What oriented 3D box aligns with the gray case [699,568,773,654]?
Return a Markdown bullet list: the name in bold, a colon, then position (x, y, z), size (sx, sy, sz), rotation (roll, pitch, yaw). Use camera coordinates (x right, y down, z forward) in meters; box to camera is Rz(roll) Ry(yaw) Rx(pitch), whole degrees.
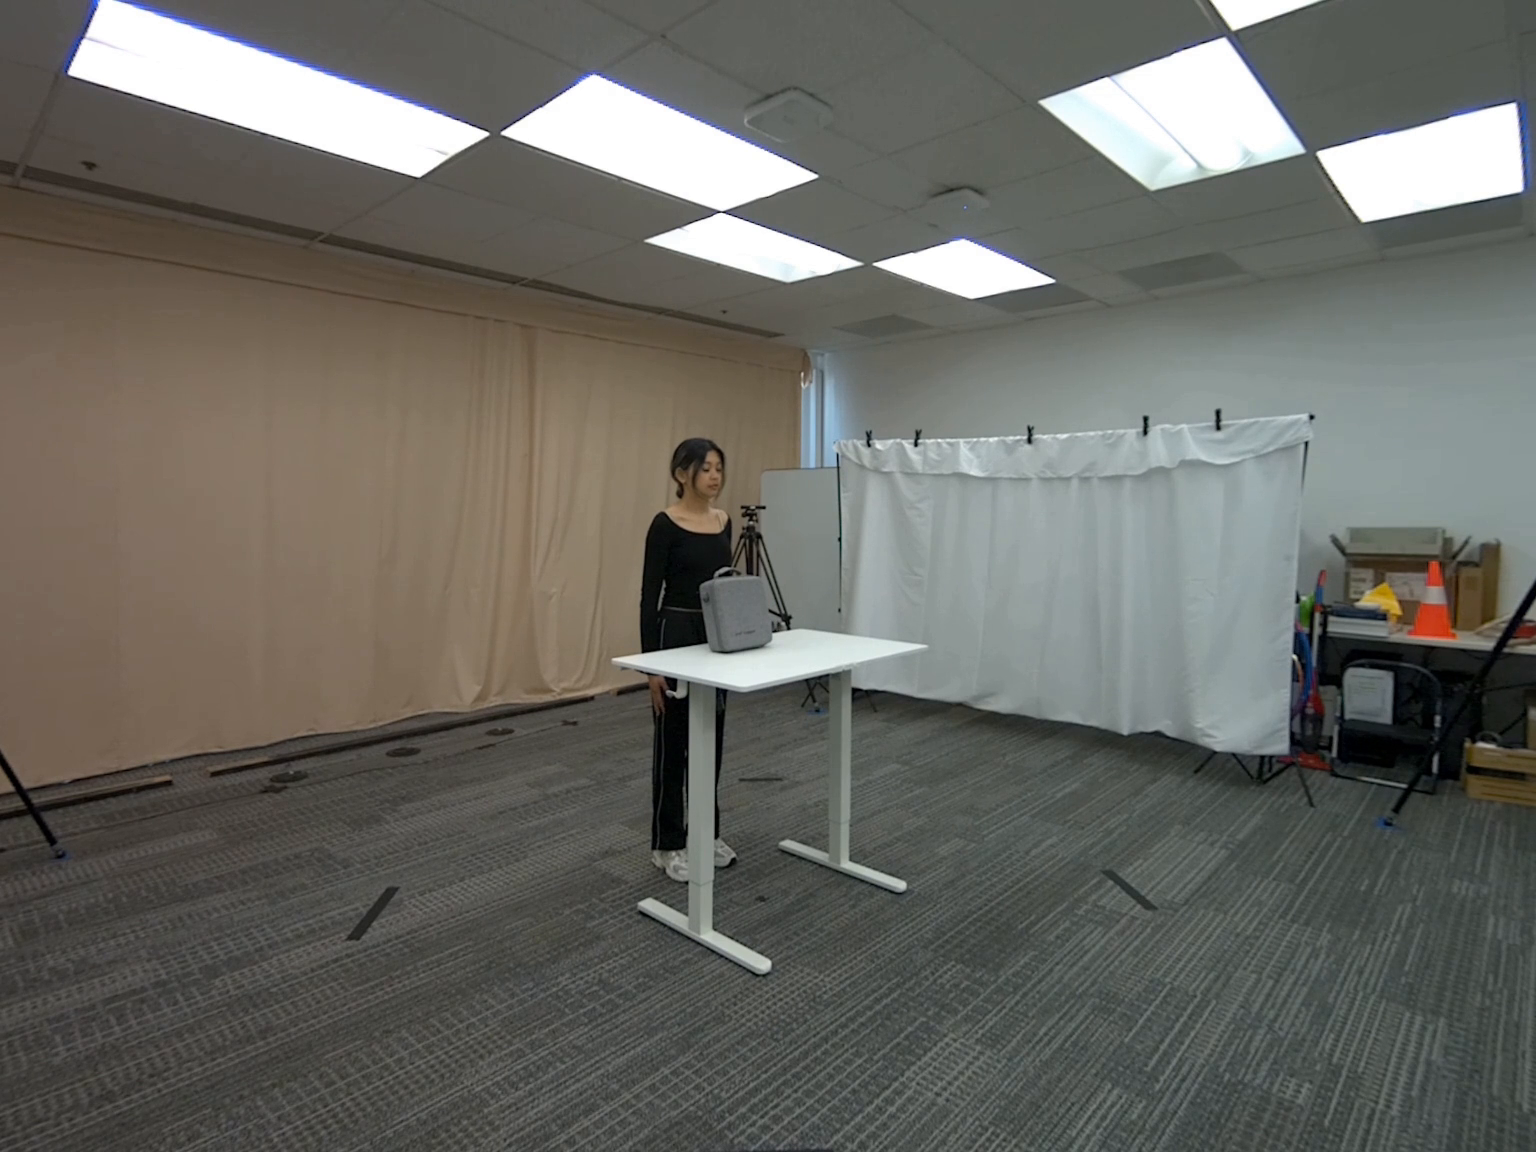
- **gray case**: position (-0.111, 0.129, 2.985), size (0.249, 0.262, 0.107), rotation (-3, -7, -45)
